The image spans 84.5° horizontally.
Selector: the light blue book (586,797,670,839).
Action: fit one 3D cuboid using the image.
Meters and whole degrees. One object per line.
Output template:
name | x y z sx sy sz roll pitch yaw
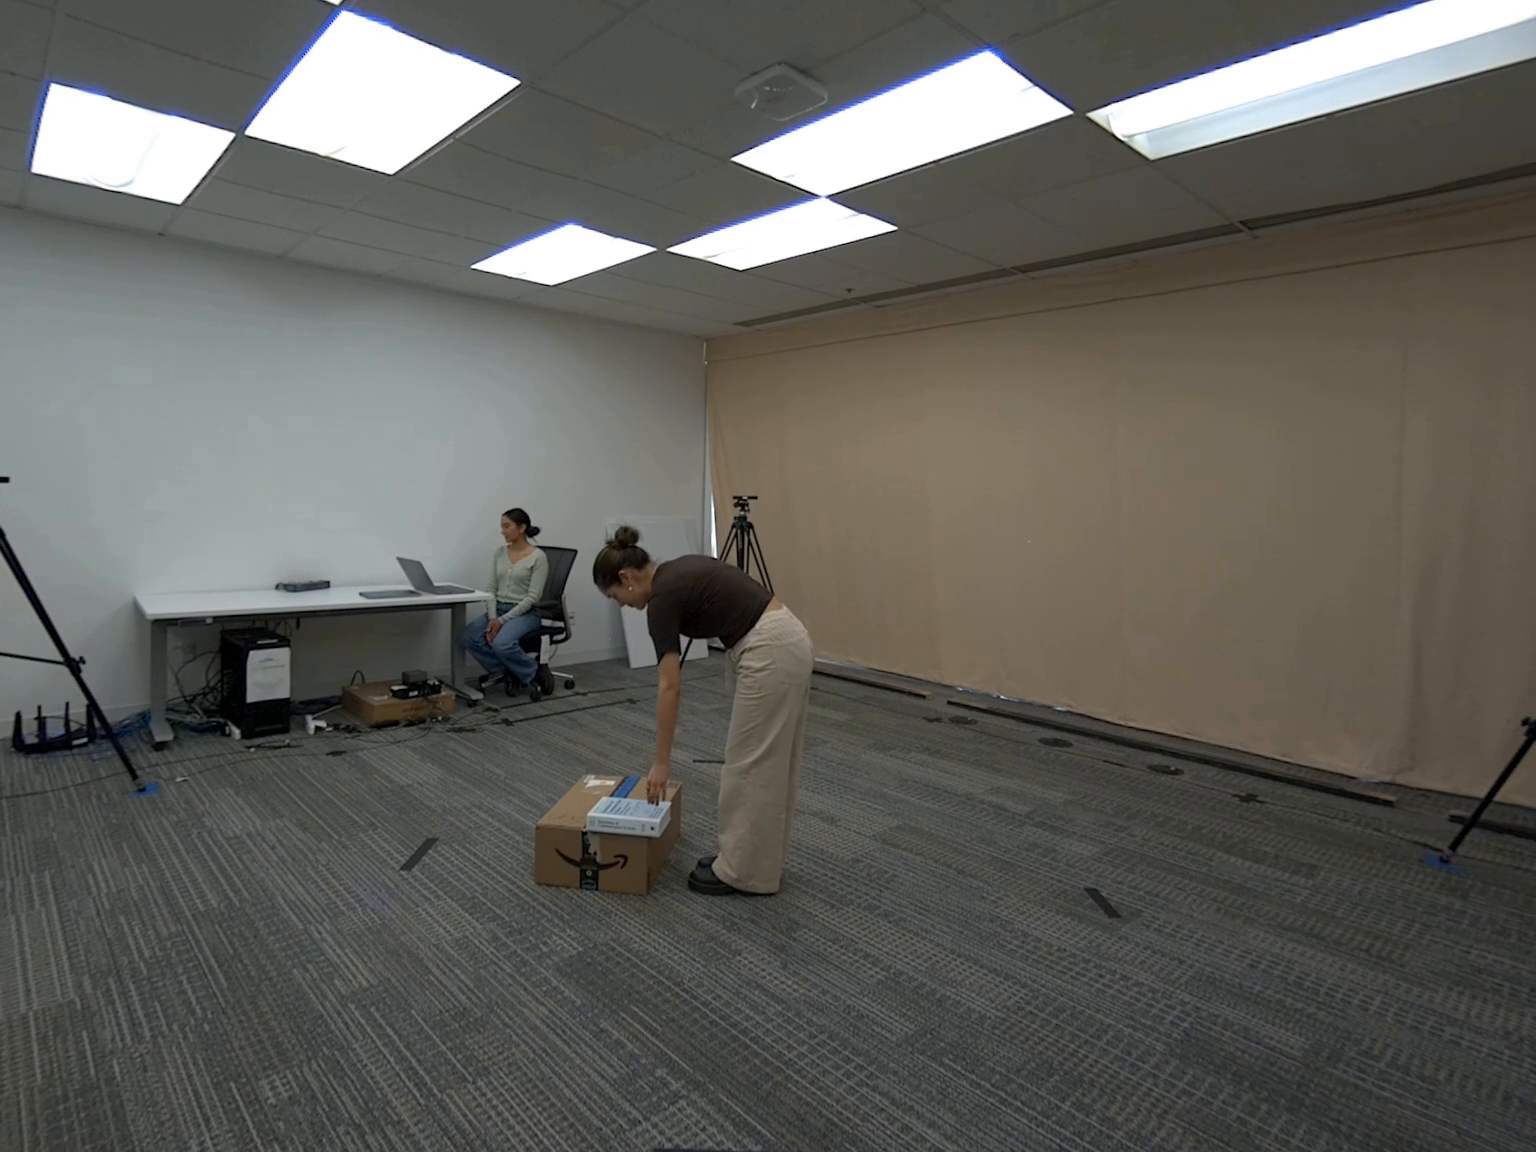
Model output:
light blue book | -0.493 0.852 3.010 0.263 0.059 0.190 2 4 8
